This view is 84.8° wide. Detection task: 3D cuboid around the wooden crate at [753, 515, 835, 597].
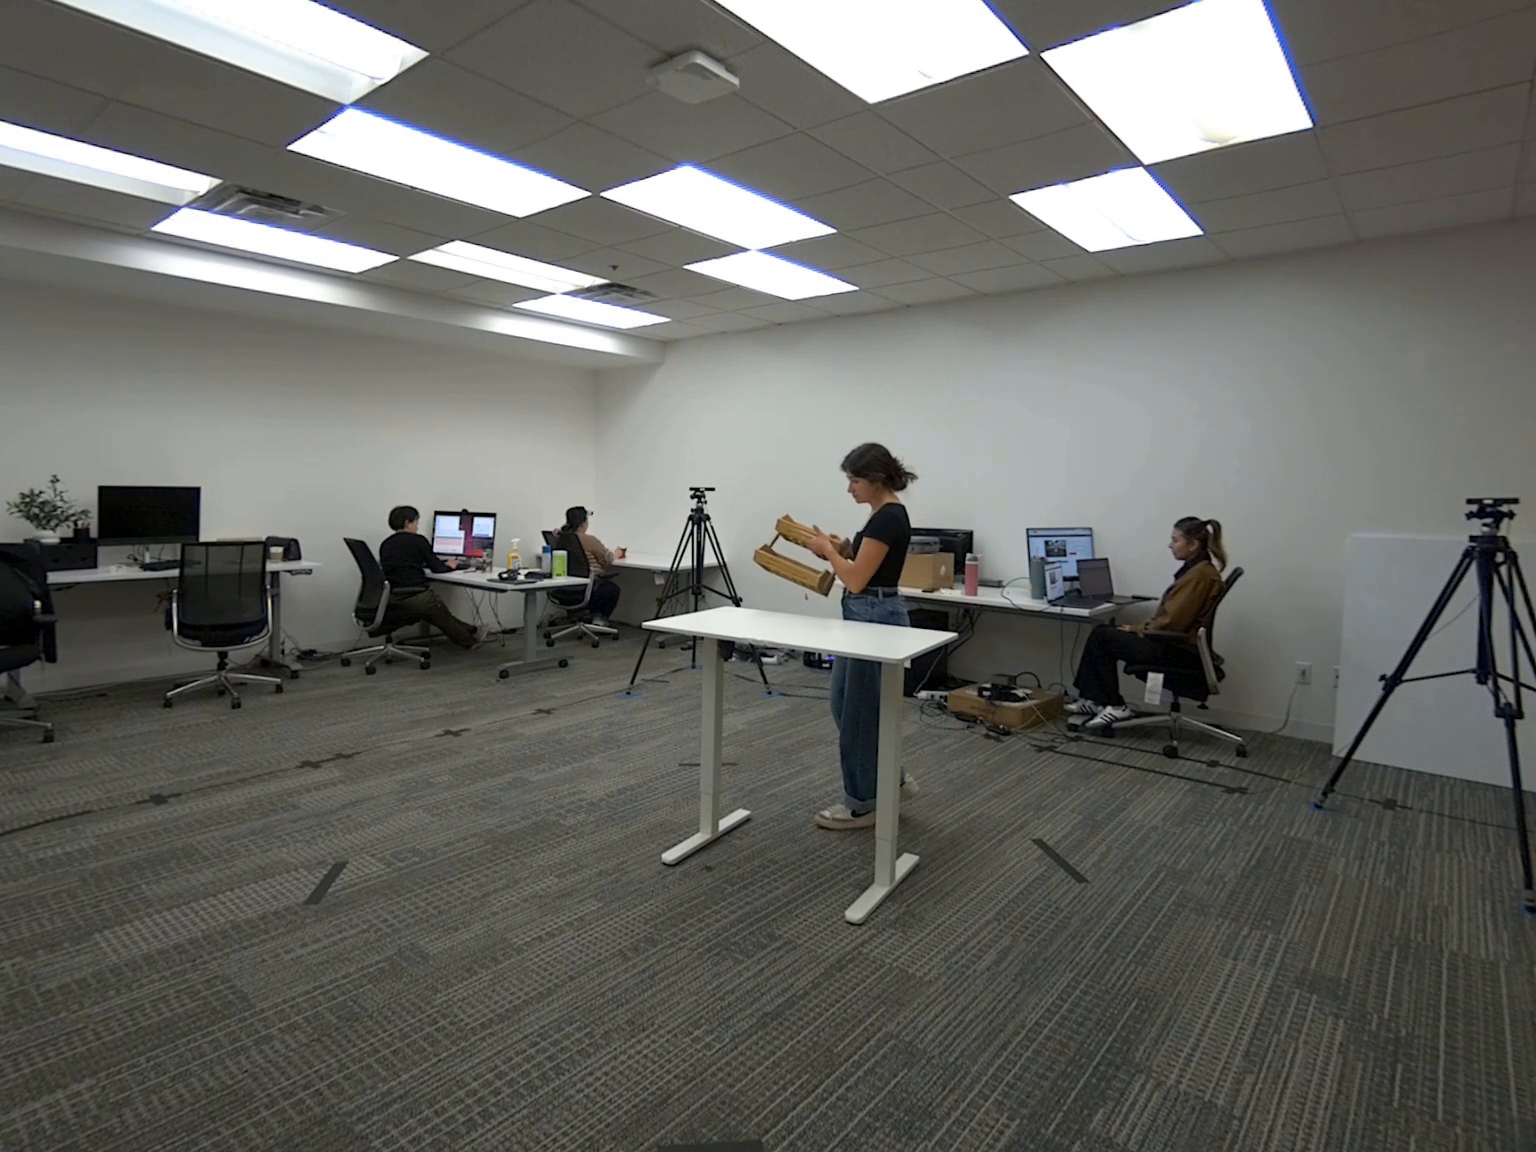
[{"bbox_3d":[0.145,-0.103,3.663,0.333,0.274,0.293,23,-6,20],"label":"wooden crate"}]
